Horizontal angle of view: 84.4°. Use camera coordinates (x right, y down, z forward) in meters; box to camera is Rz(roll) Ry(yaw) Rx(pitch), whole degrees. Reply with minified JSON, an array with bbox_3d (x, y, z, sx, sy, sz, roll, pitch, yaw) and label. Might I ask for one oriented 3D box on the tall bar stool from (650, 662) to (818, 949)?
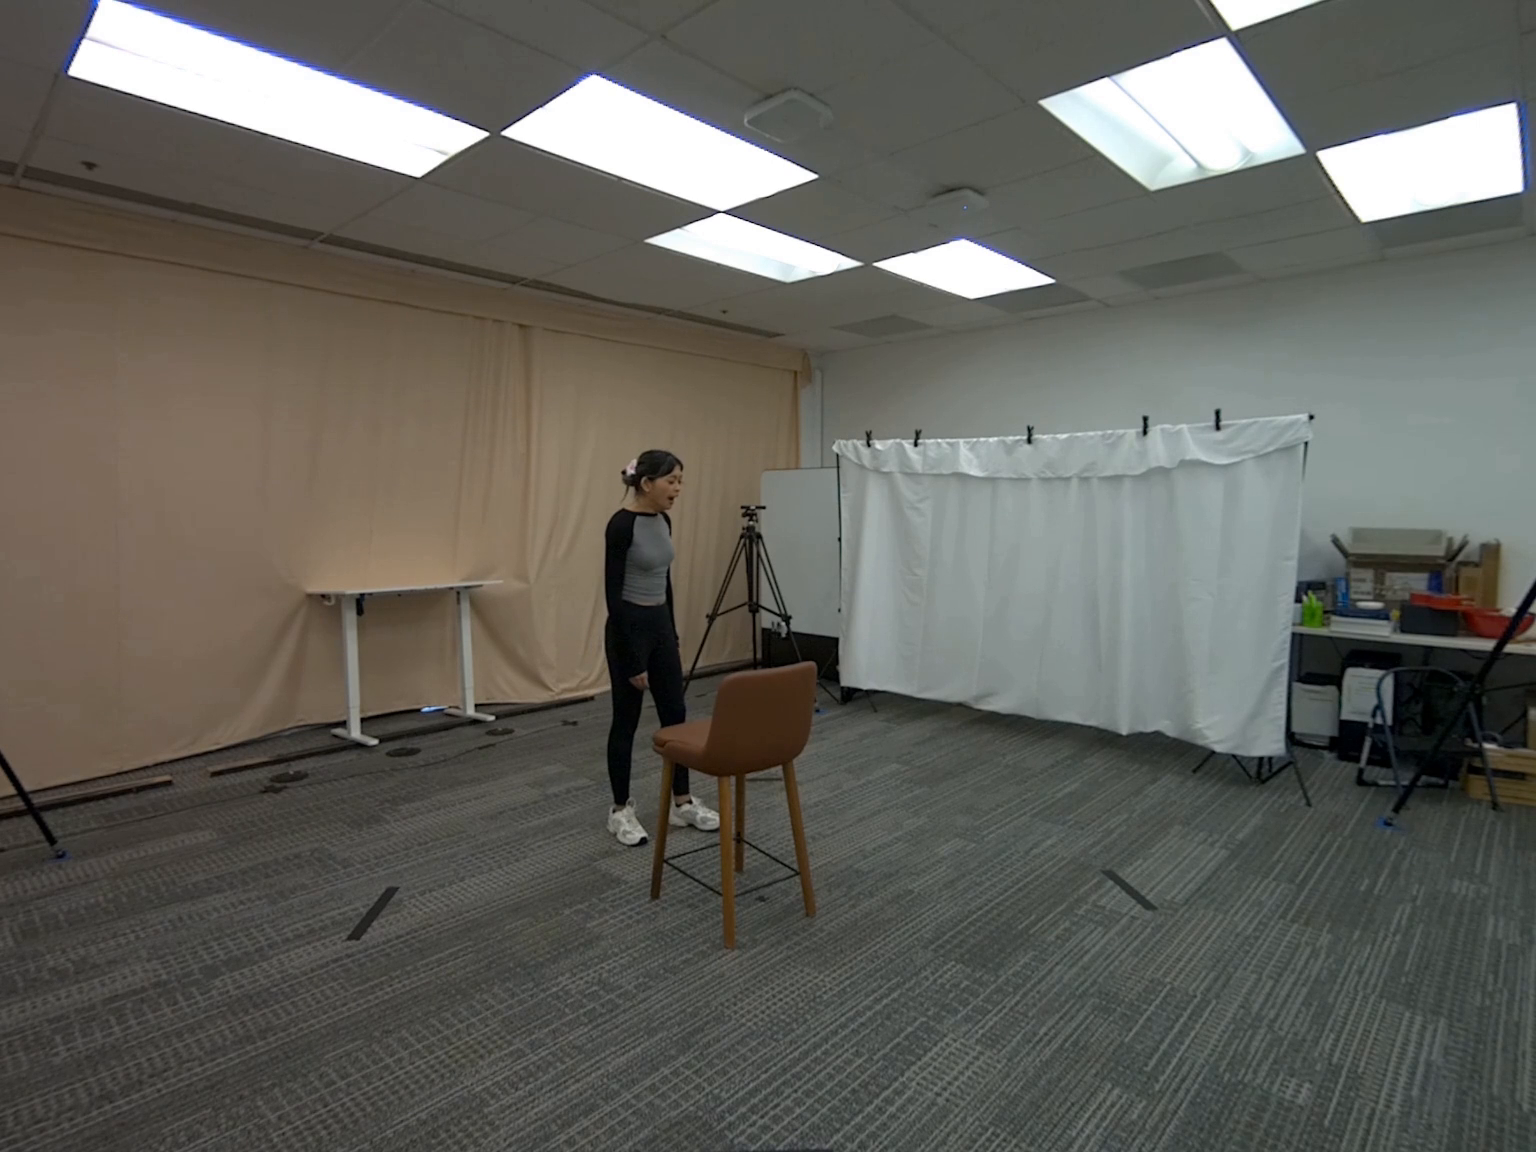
[{"bbox_3d":[-0.117,0.715,2.902,0.443,0.887,0.483,-2,6,-38],"label":"tall bar stool"}]
